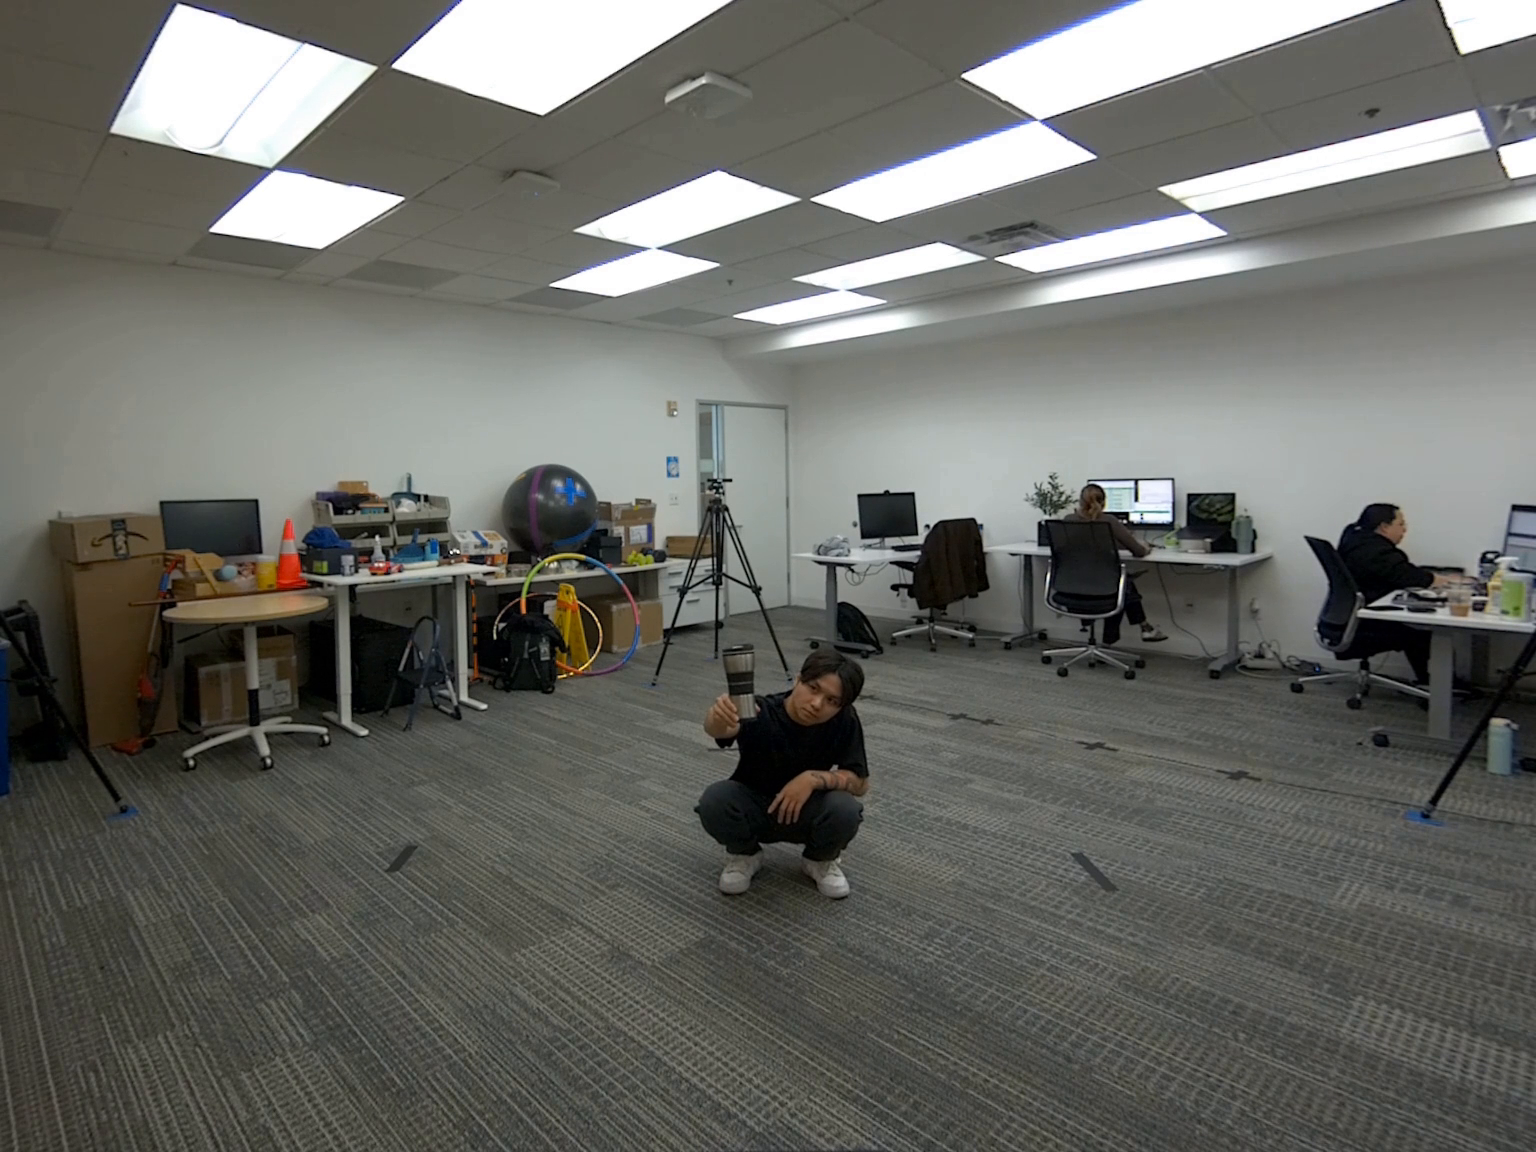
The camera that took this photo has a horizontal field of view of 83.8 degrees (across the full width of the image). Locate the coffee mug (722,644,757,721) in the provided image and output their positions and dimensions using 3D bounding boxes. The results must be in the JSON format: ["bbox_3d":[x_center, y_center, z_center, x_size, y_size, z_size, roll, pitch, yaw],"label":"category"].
[{"bbox_3d":[-0.049,0.295,2.311,0.118,0.205,0.090,0,-12,-45],"label":"coffee mug"}]
